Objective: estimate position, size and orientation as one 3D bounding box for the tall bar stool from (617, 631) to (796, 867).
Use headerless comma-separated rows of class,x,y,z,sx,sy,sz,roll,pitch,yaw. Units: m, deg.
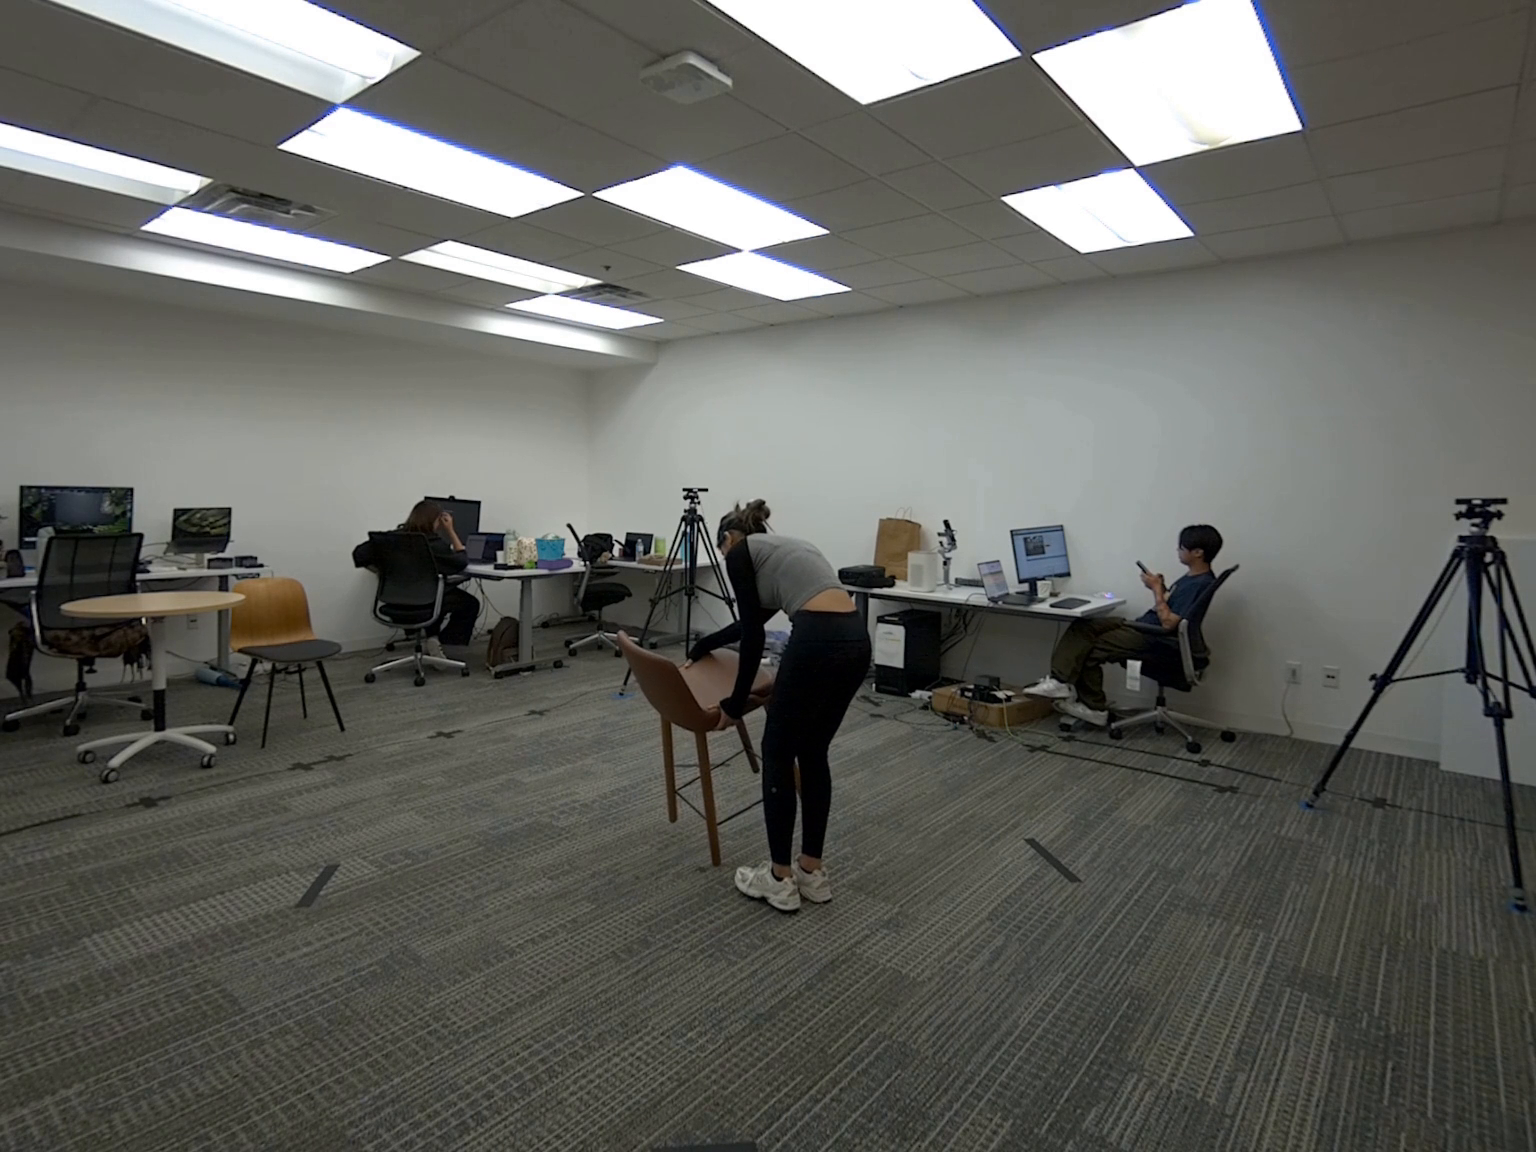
tall bar stool,-0.214,0.561,3.252,0.460,0.871,0.473,-23,21,-28
